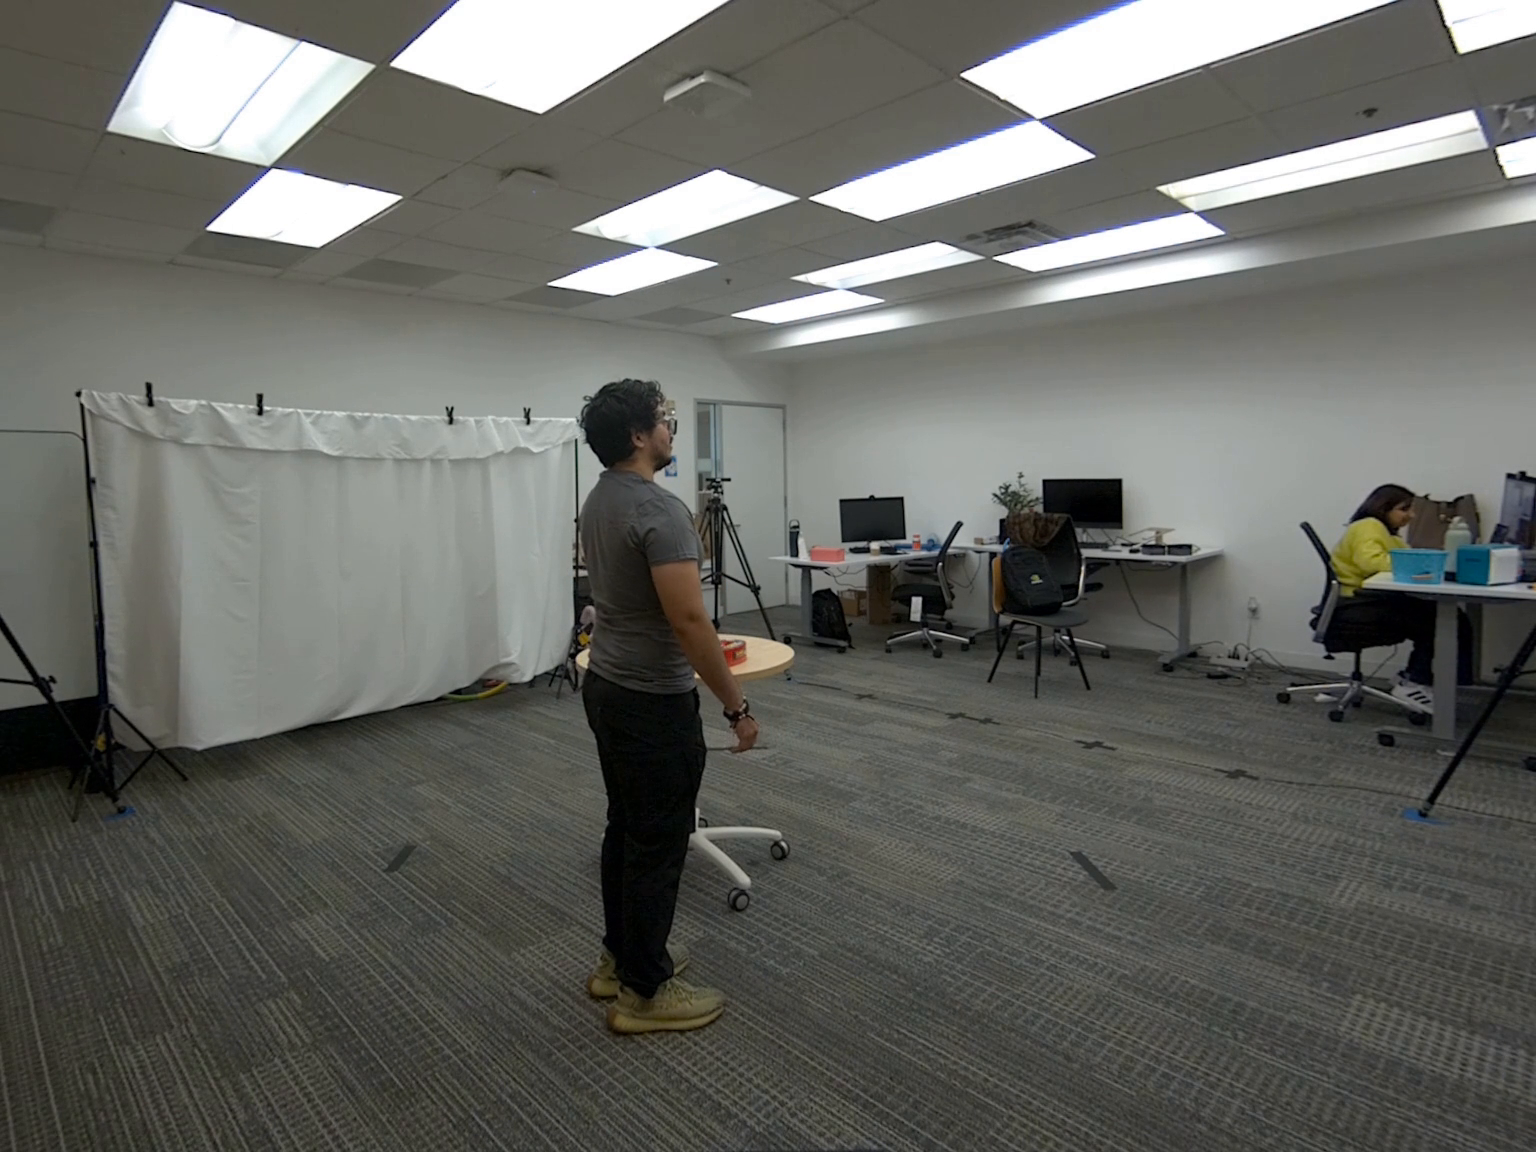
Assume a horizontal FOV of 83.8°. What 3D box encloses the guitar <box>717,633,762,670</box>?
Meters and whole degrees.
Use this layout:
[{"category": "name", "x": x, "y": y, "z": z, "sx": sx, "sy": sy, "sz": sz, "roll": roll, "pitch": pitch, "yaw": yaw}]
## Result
[{"category": "guitar", "x": -0.285, "y": 0.243, "z": 2.960, "sx": 0.512, "sy": 0.070, "sz": 0.189, "roll": 3, "pitch": 10, "yaw": 36}]
